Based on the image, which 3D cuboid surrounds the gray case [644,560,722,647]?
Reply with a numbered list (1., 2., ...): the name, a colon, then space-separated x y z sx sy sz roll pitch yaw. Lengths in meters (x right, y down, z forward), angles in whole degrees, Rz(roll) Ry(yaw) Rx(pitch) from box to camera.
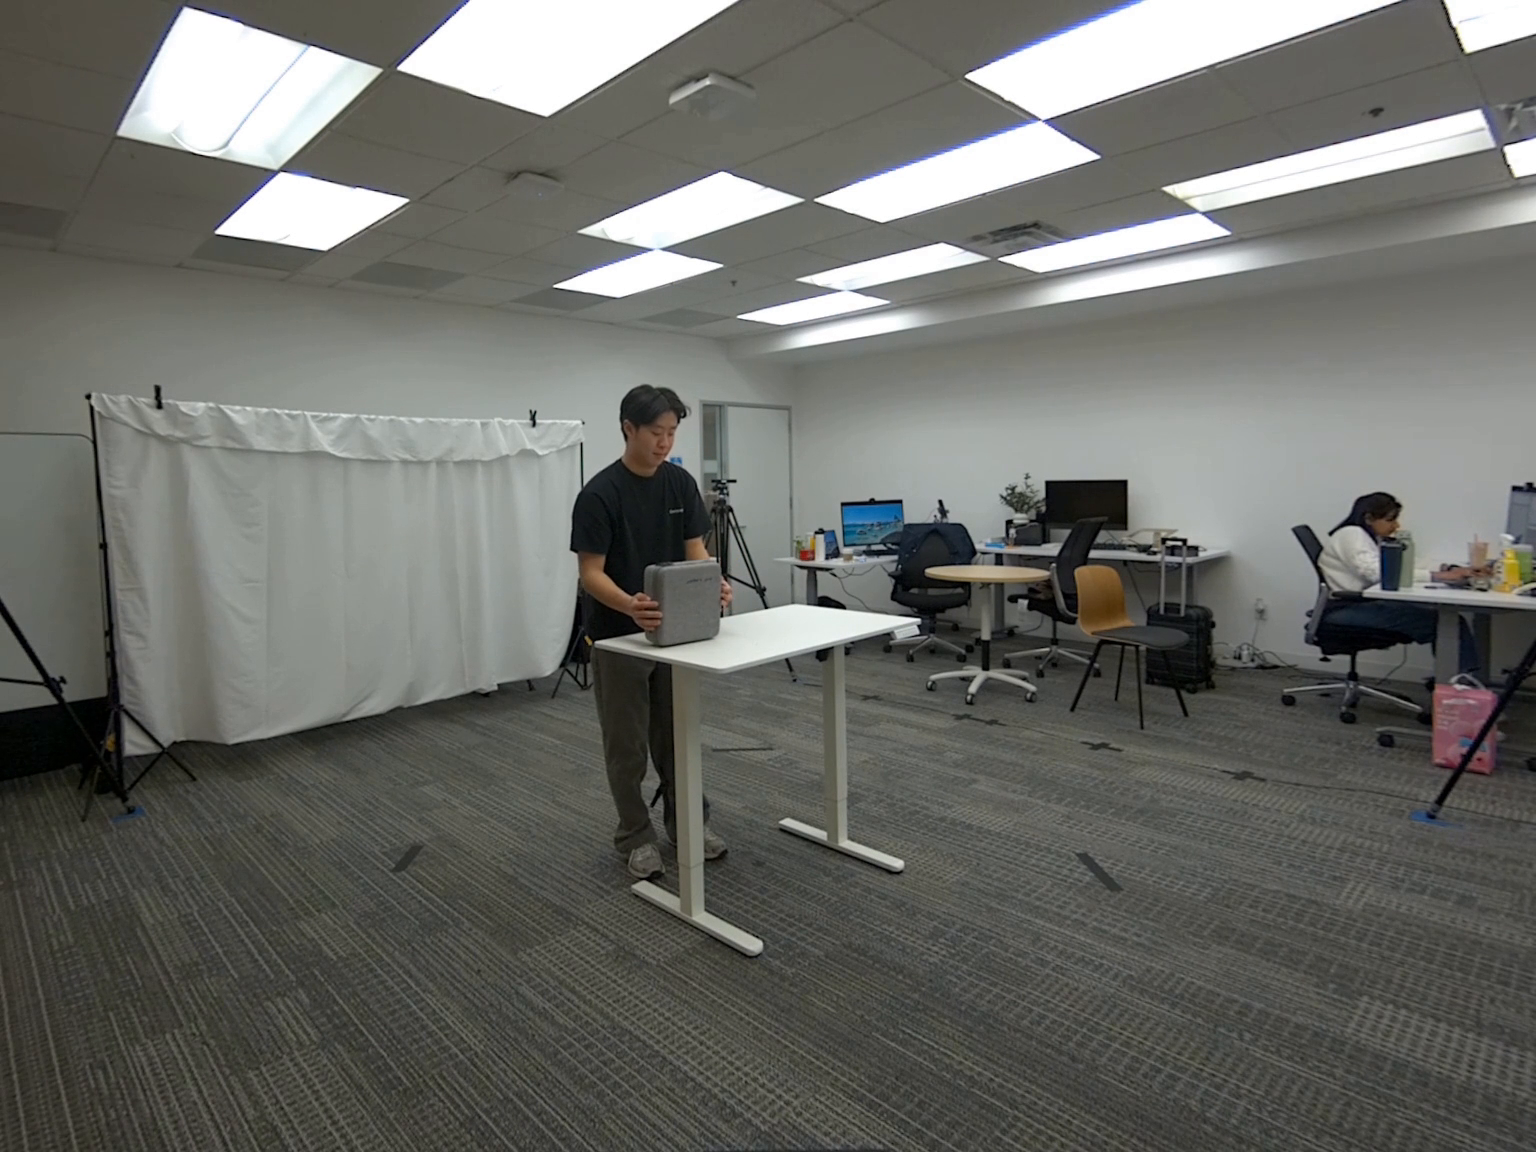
1. gray case: -0.269 0.085 2.743 0.250 0.259 0.107 -7 8 -43
